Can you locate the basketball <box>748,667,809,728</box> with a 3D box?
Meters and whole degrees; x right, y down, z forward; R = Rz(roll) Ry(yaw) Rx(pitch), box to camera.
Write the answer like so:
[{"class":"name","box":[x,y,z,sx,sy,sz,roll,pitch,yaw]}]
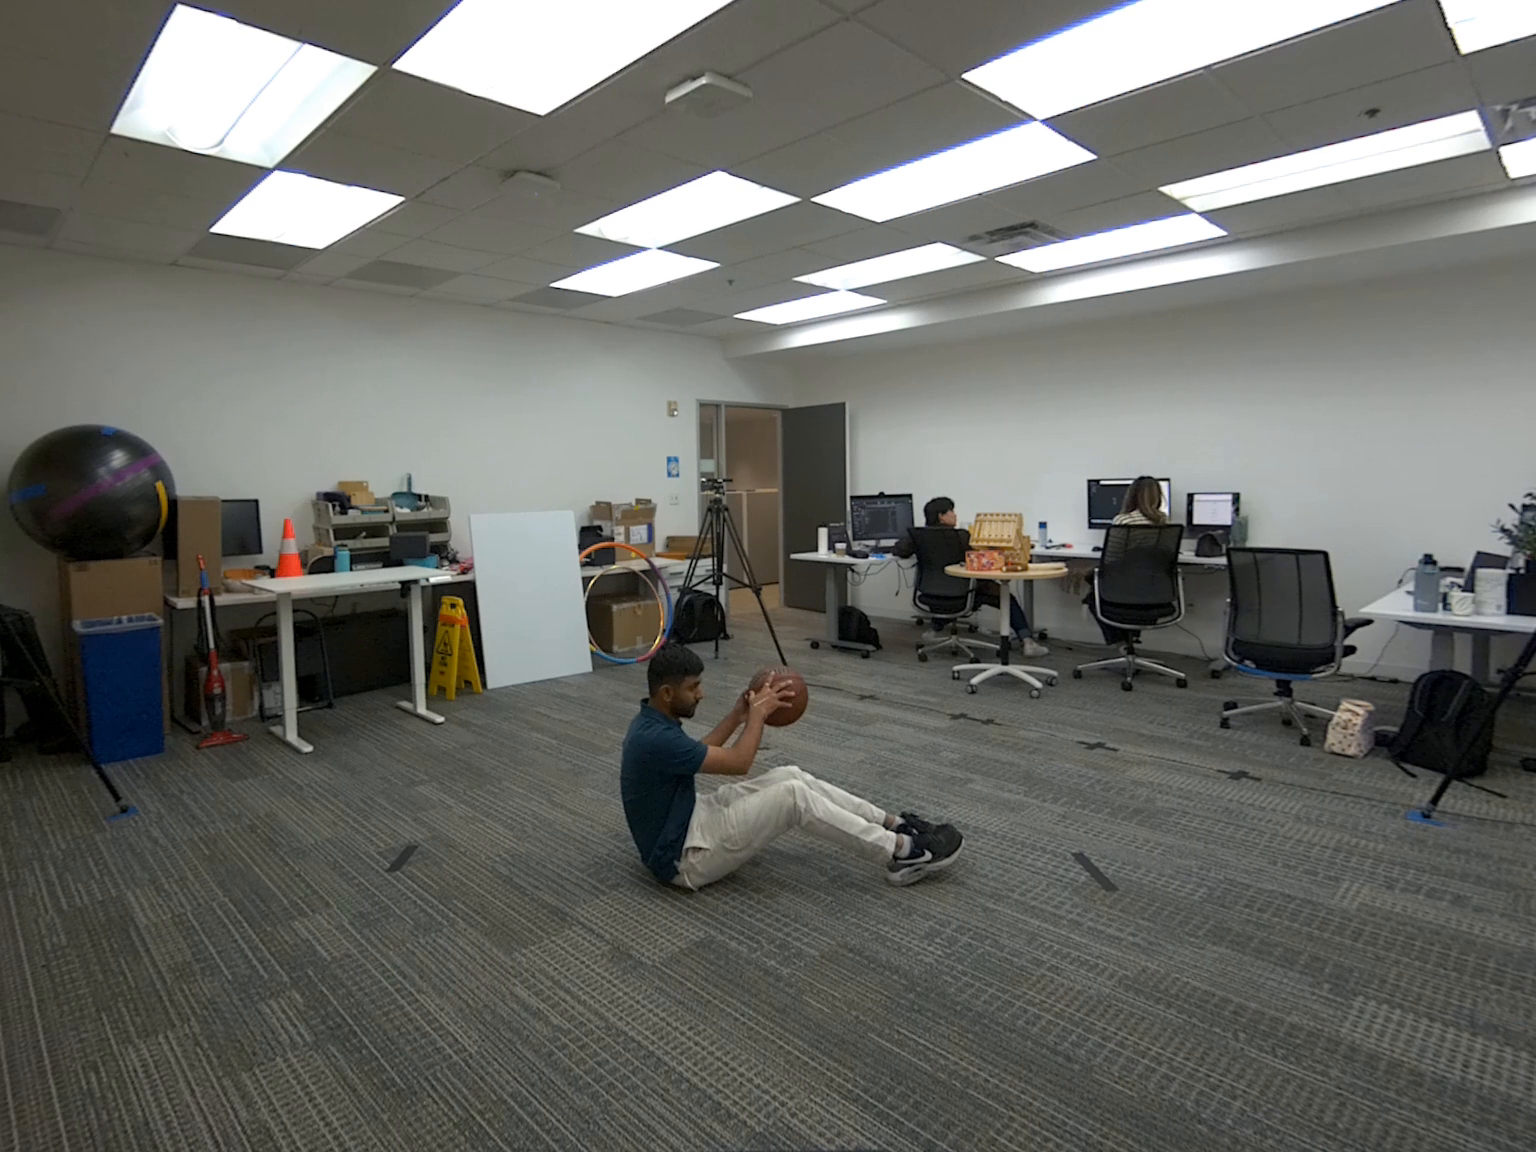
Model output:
[{"class":"basketball","box":[0.045,0.502,3.342,0.236,0.235,0.237,-1,5,-2]}]
